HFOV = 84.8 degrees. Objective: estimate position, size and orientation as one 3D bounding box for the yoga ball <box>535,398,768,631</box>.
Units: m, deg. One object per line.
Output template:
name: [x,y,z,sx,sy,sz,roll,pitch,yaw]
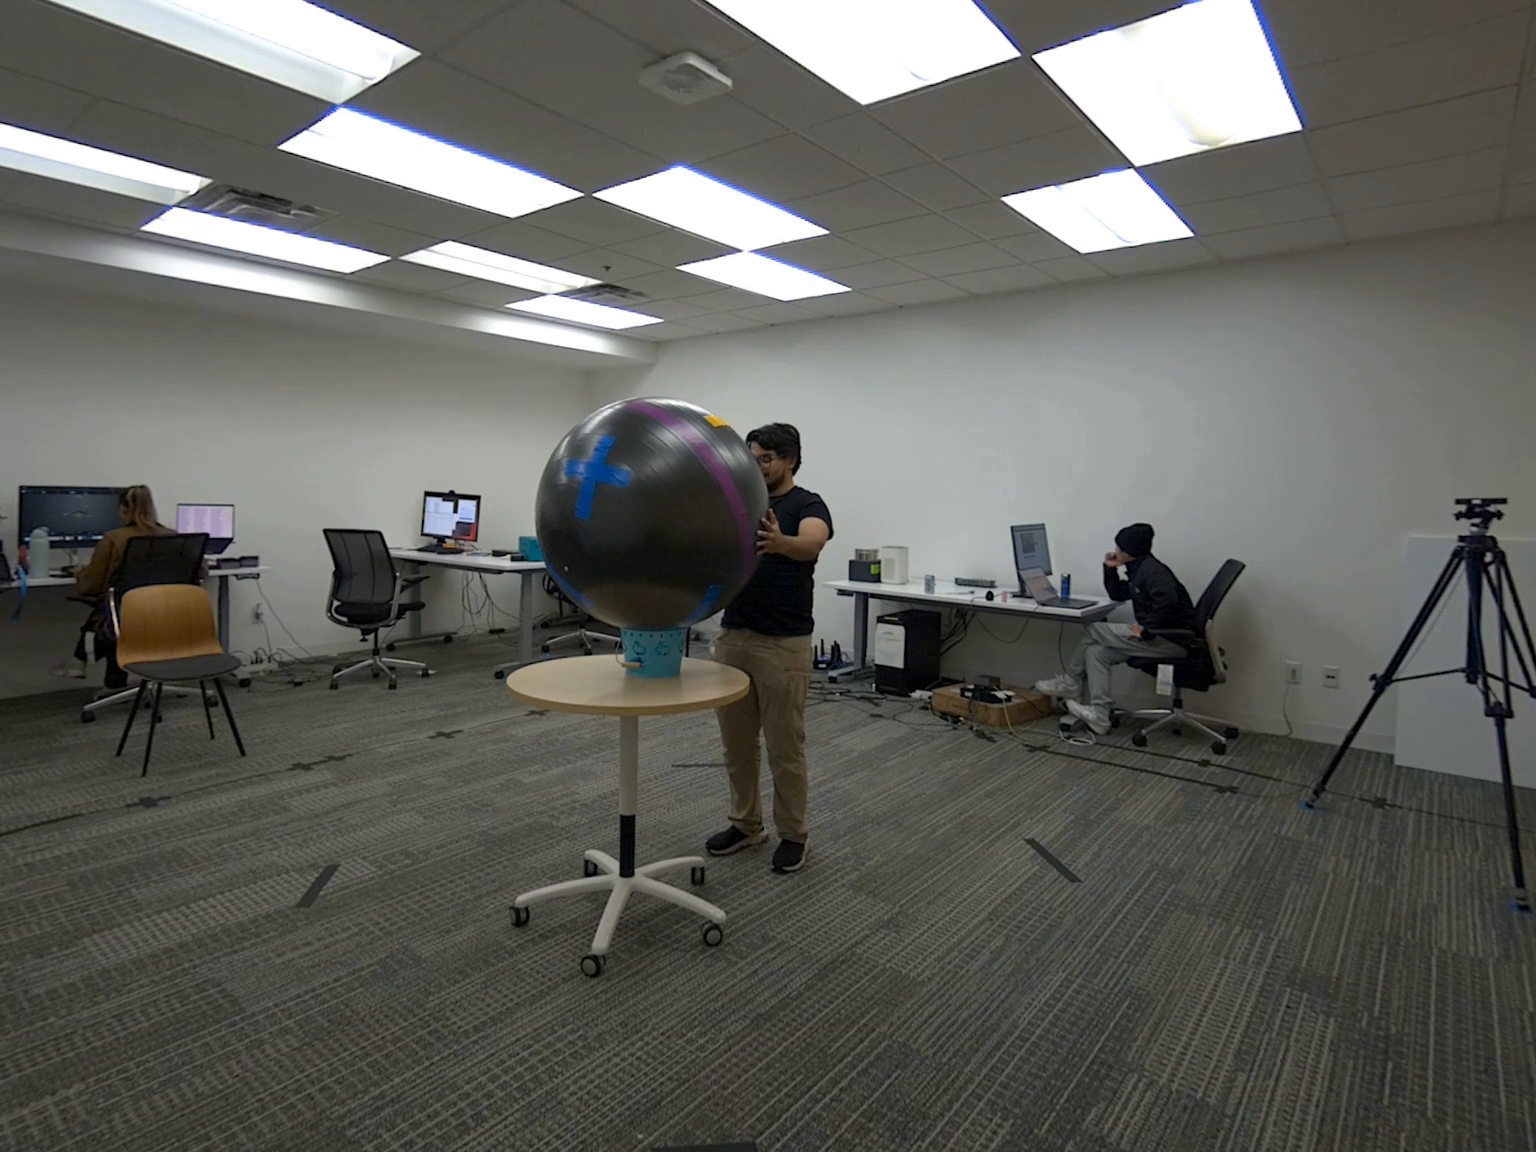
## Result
yoga ball: [-0.380,-0.195,2.758,0.757,0.755,0.762,1,4,-2]
